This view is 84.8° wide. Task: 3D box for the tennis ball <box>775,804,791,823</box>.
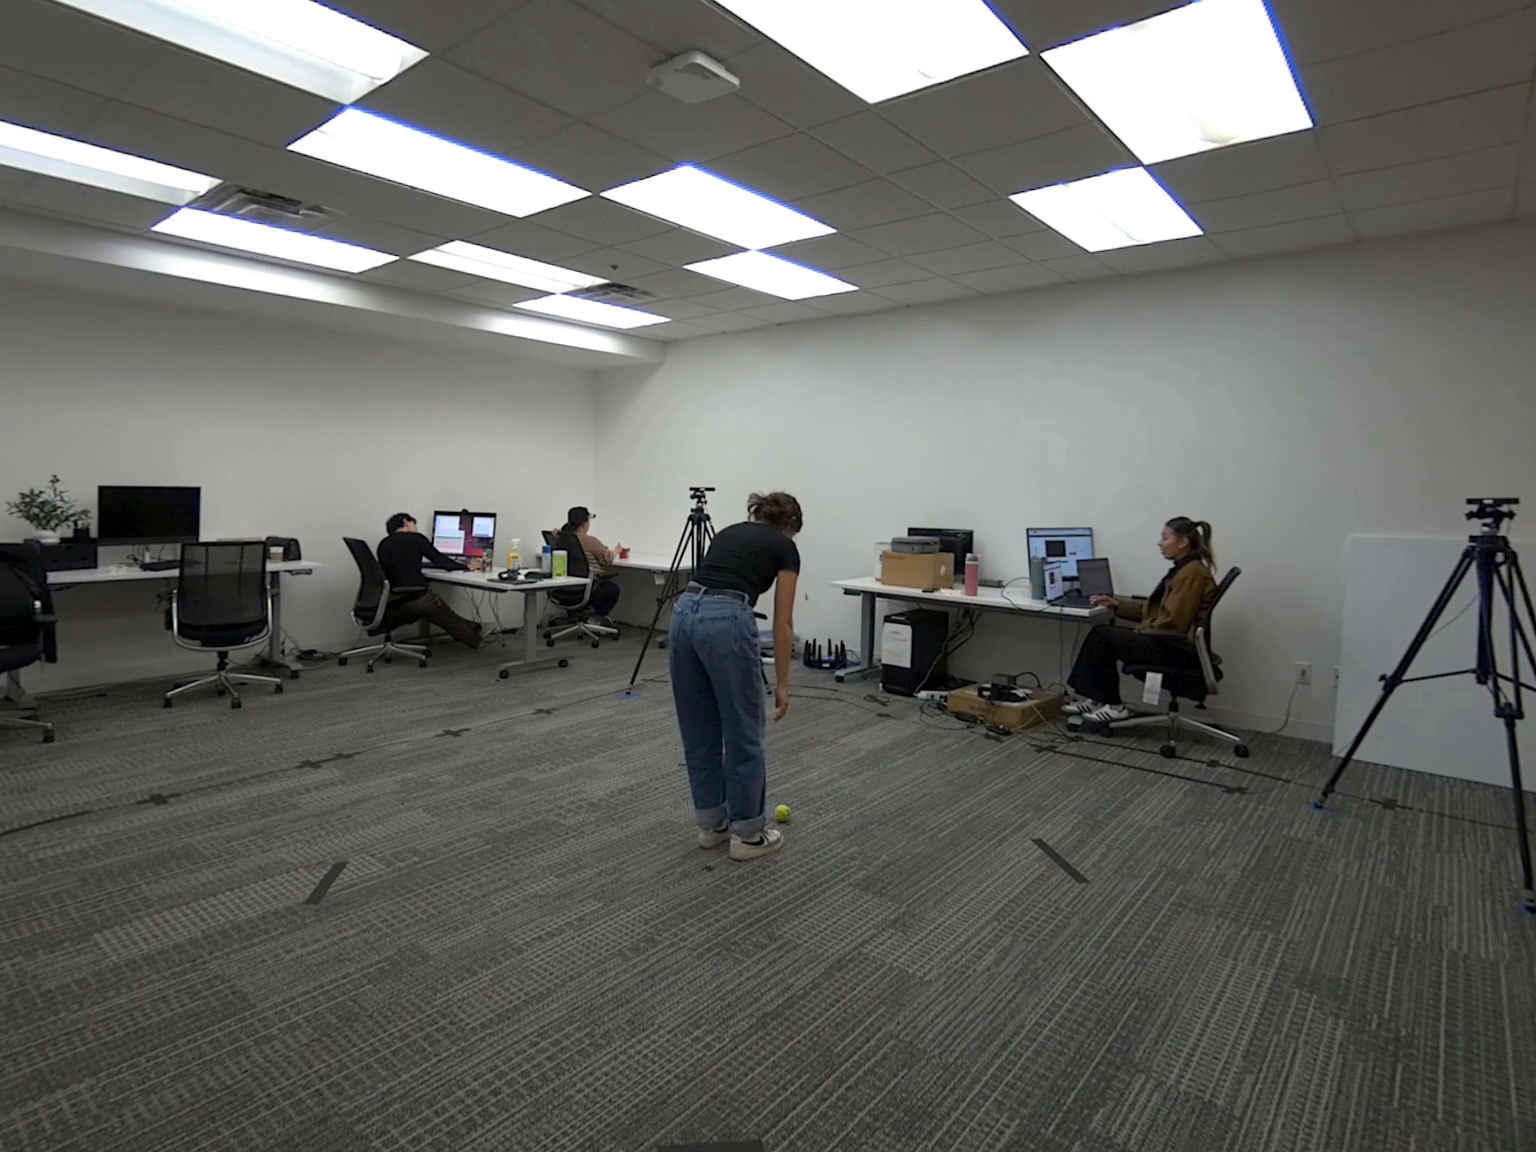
[{"bbox_3d":[0.048,0.966,3.565,0.066,0.066,0.067,1,4,-2],"label":"tennis ball"}]
